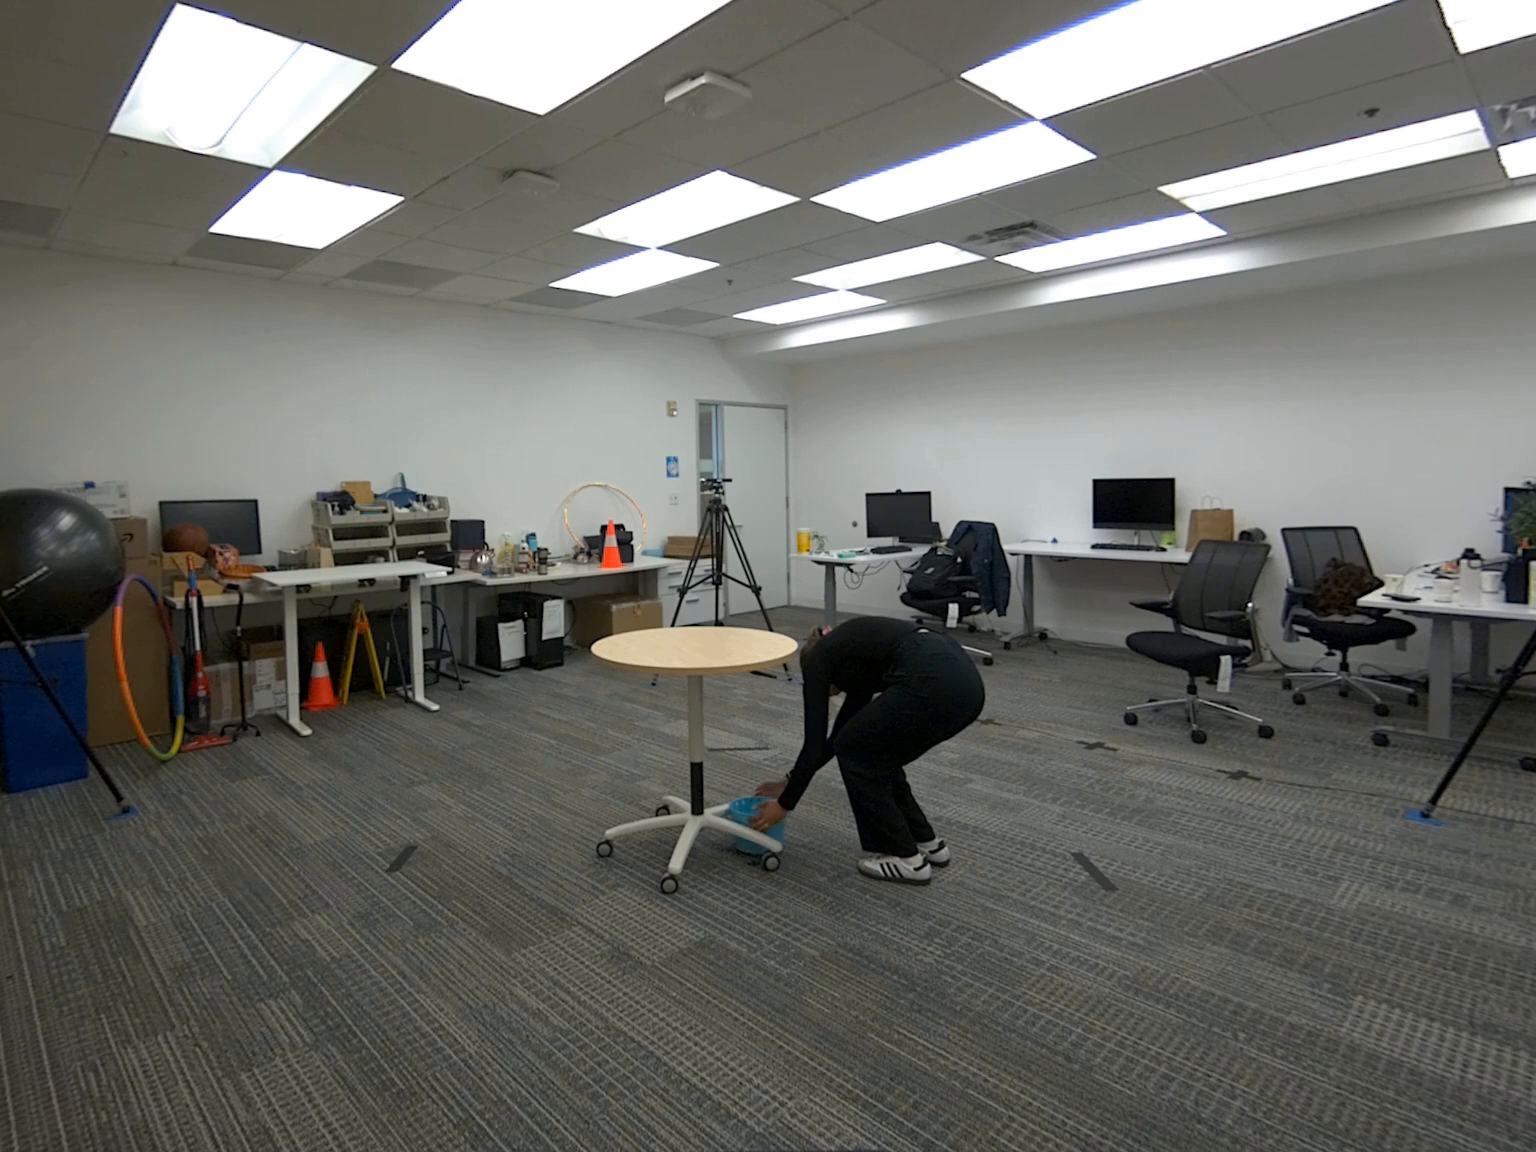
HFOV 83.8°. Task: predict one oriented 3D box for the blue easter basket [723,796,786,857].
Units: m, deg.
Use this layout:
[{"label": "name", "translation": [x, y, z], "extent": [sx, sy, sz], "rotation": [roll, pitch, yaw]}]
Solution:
[{"label": "blue easter basket", "translation": [-0.028, 0.949, 3.255], "extent": [0.243, 0.155, 0.244], "rotation": [-1, 3, -2]}]
